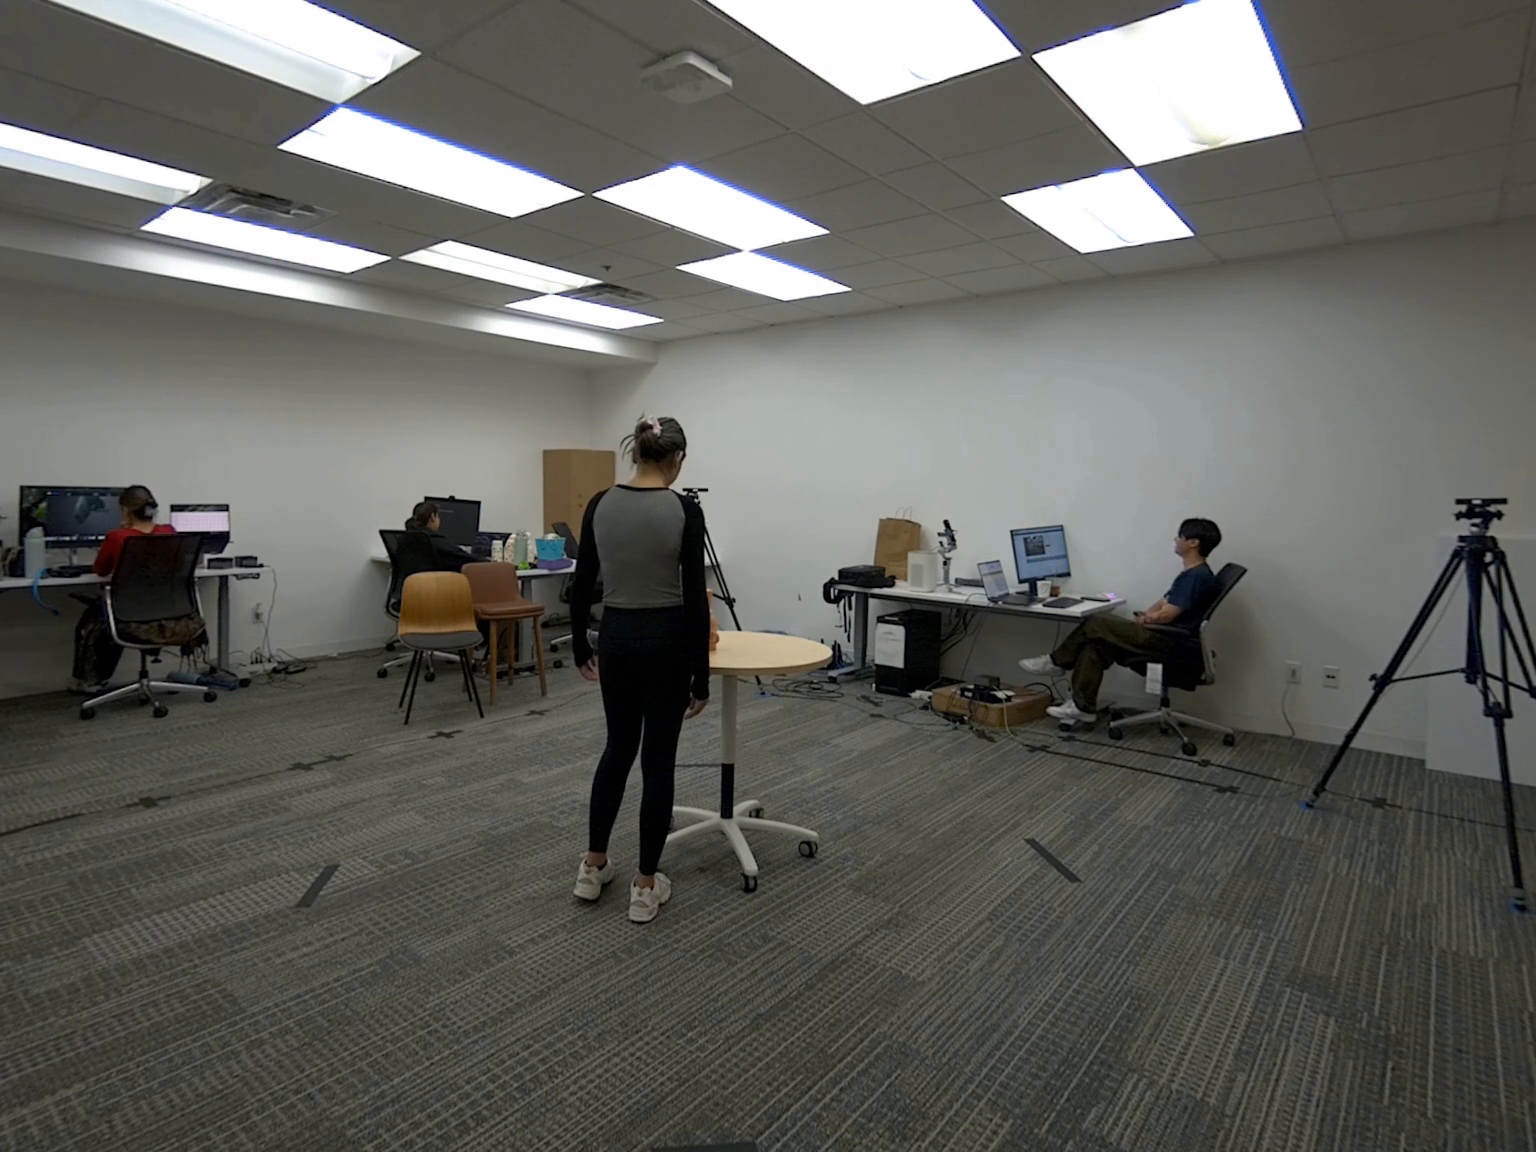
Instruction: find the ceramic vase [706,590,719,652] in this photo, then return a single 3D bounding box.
[{"bbox_3d":[-0.266,0.157,3.170,0.159,0.219,0.135,2,4,0],"label":"ceramic vase"}]
